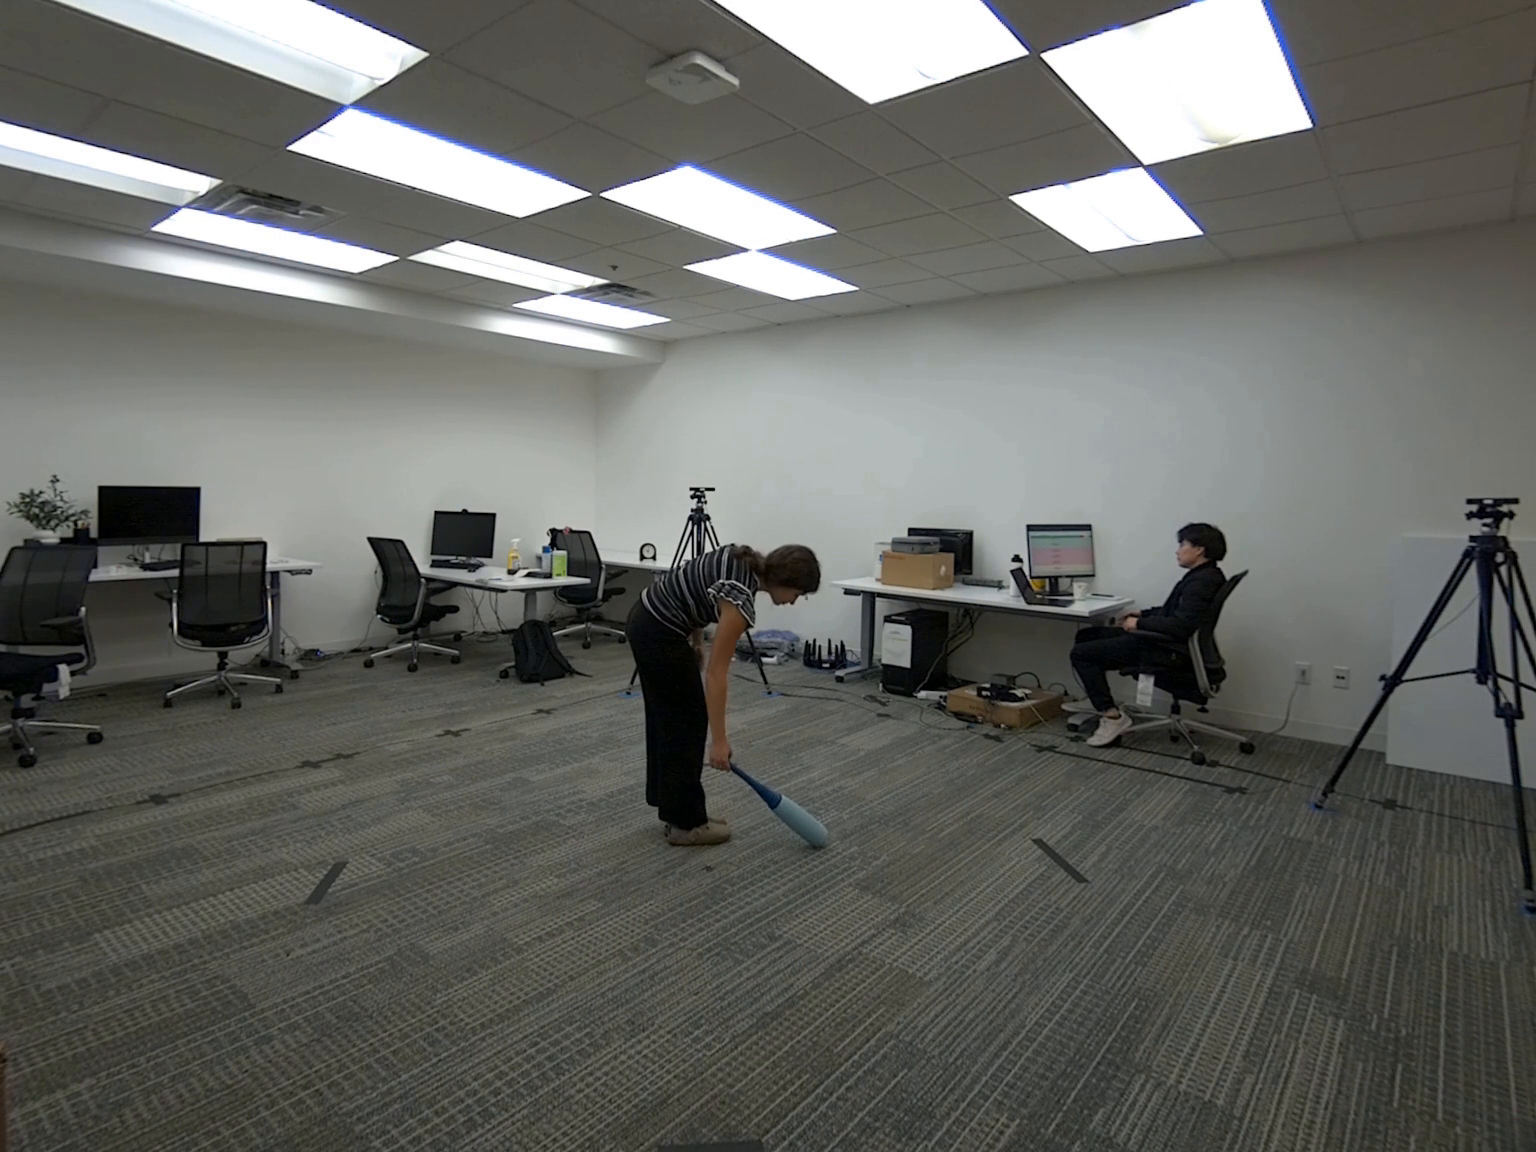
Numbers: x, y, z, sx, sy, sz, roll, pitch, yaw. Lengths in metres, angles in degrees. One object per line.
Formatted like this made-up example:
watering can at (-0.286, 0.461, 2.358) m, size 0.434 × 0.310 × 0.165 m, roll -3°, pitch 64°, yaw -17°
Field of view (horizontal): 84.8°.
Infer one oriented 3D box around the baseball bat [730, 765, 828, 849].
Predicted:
baseball bat at (0.003, 0.859, 3.279) m, size 0.534 × 0.089 × 0.090 m, roll 41°, pitch -7°, yaw -12°
